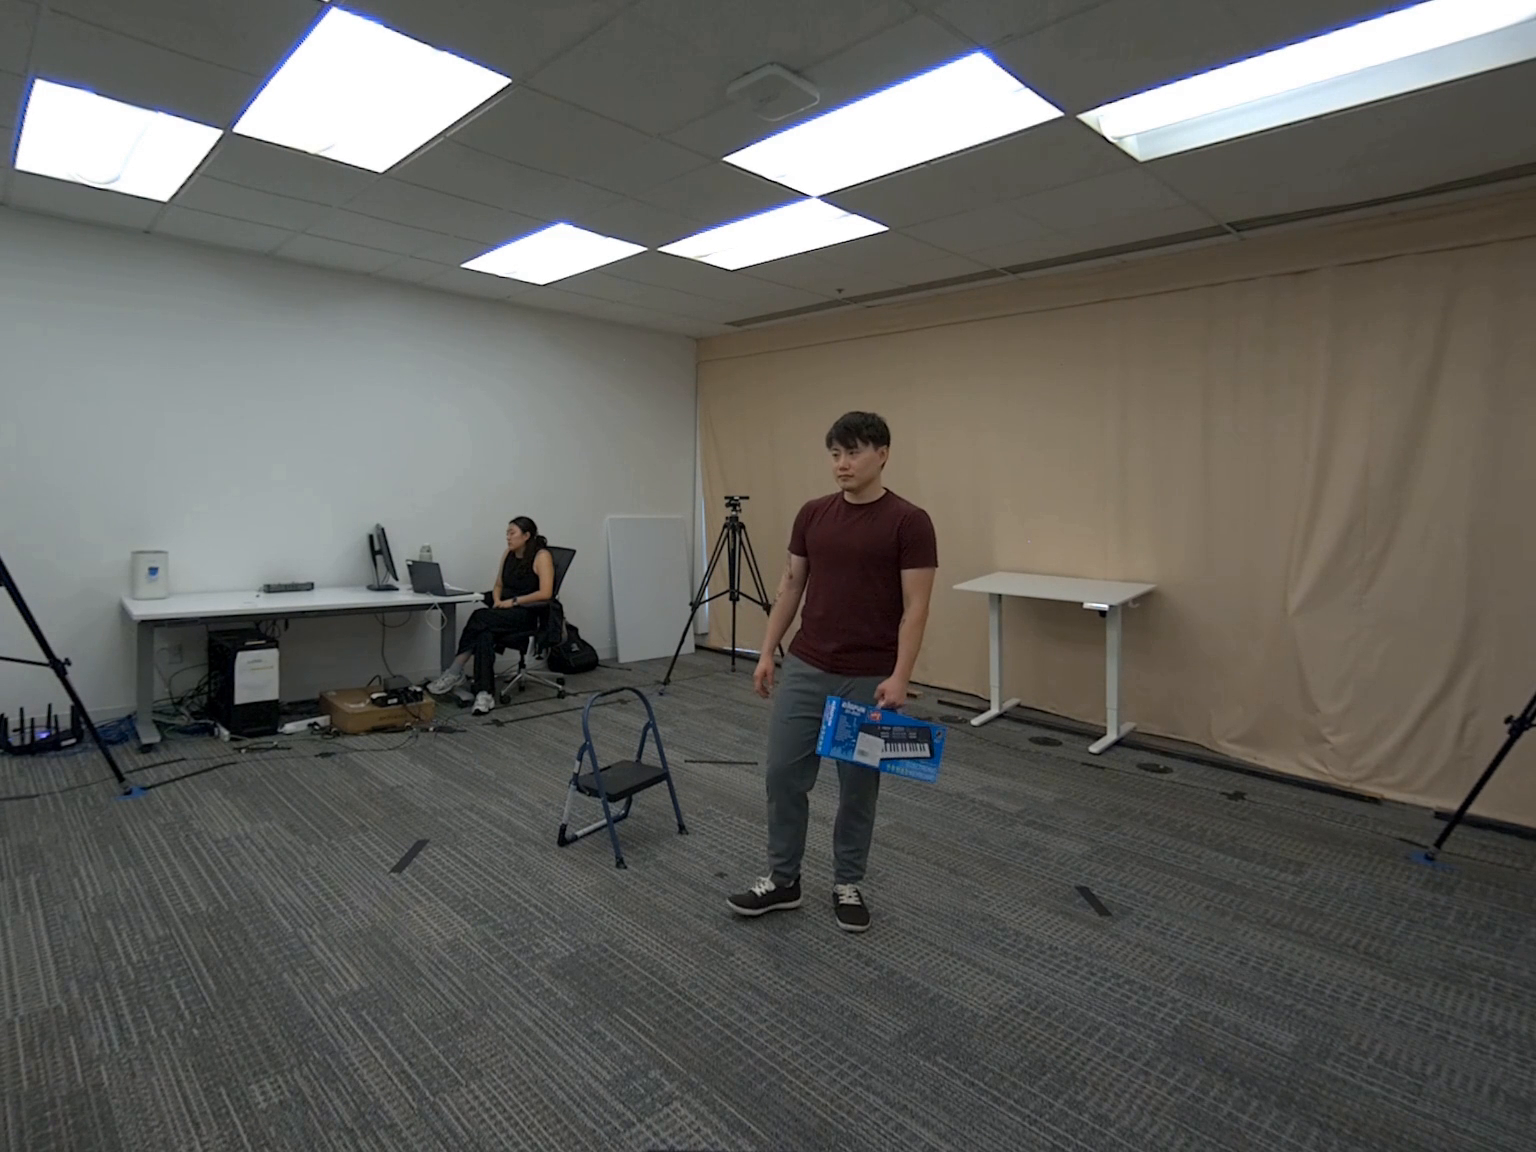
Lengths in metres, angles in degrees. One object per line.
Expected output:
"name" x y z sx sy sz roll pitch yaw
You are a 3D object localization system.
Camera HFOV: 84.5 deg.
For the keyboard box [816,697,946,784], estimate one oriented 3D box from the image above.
"keyboard box" 0.343 0.498 2.526 0.425 0.177 0.060 19 -13 -31
